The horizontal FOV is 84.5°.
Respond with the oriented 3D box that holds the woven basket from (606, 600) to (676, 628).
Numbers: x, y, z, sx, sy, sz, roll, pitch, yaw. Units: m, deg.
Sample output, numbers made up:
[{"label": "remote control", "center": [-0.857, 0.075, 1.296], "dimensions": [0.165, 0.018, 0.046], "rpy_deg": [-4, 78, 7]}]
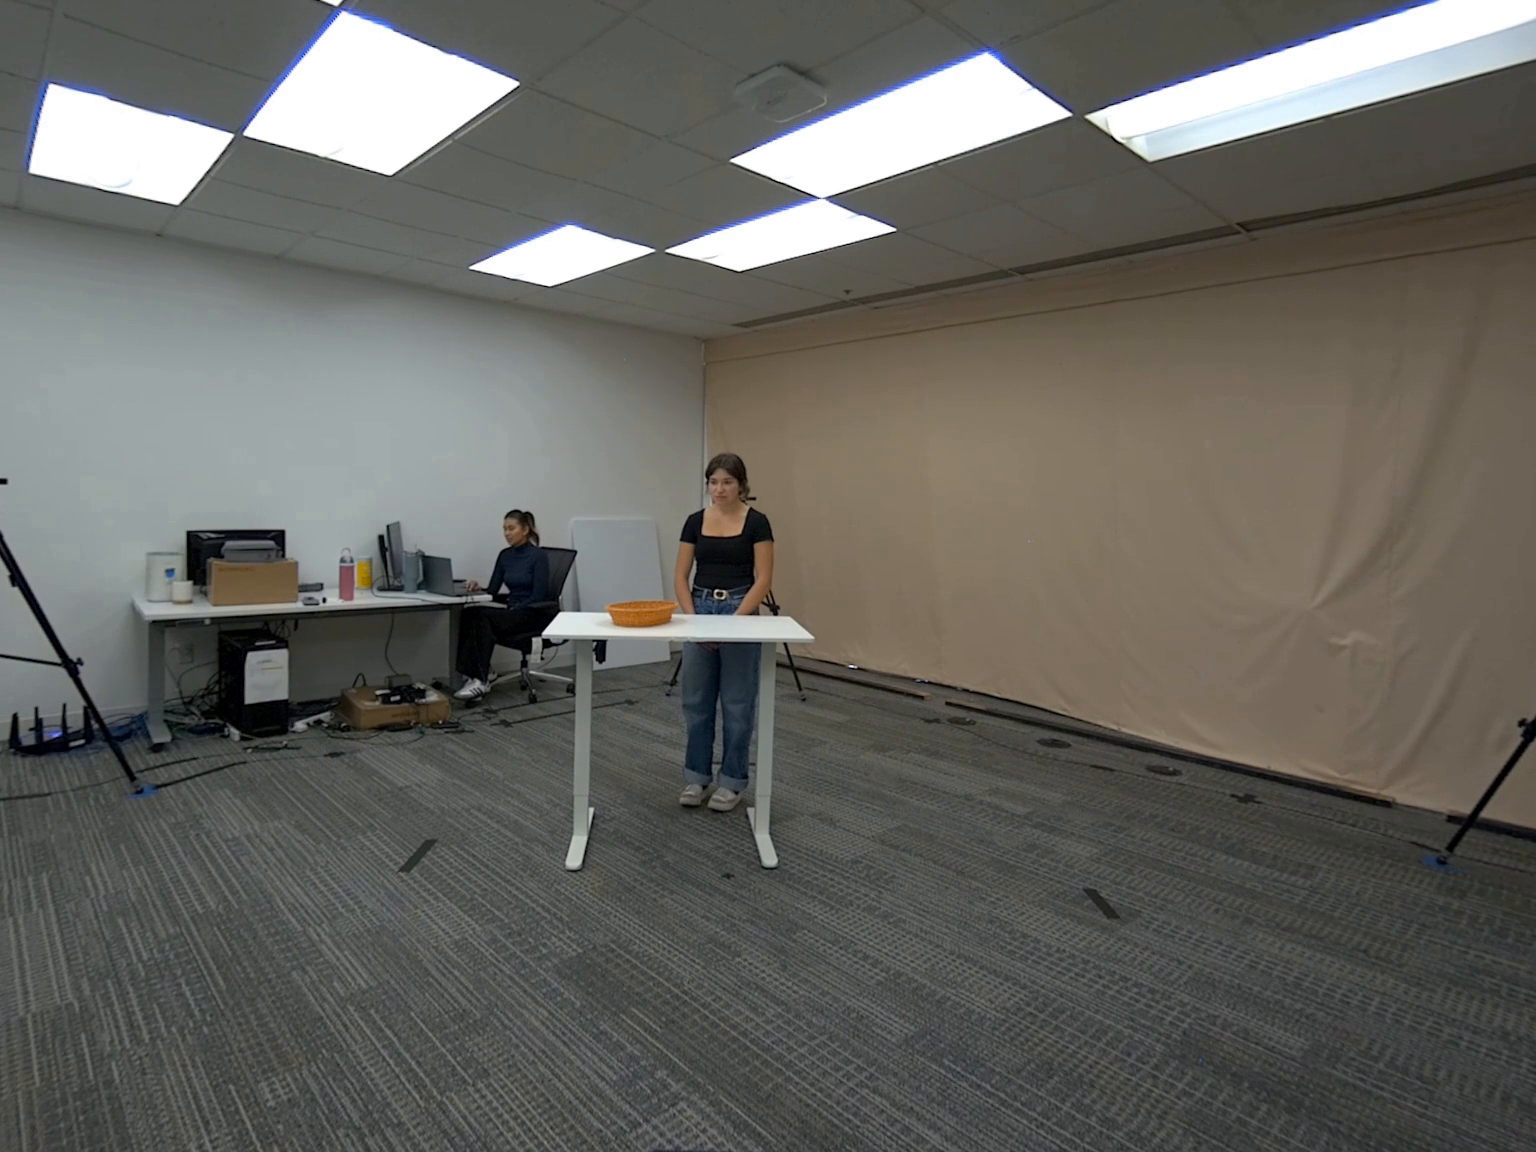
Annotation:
[{"label": "woven basket", "center": [-0.535, 0.159, 3.406], "dimensions": [0.256, 0.073, 0.347], "rpy_deg": [2, 5, 15]}]
